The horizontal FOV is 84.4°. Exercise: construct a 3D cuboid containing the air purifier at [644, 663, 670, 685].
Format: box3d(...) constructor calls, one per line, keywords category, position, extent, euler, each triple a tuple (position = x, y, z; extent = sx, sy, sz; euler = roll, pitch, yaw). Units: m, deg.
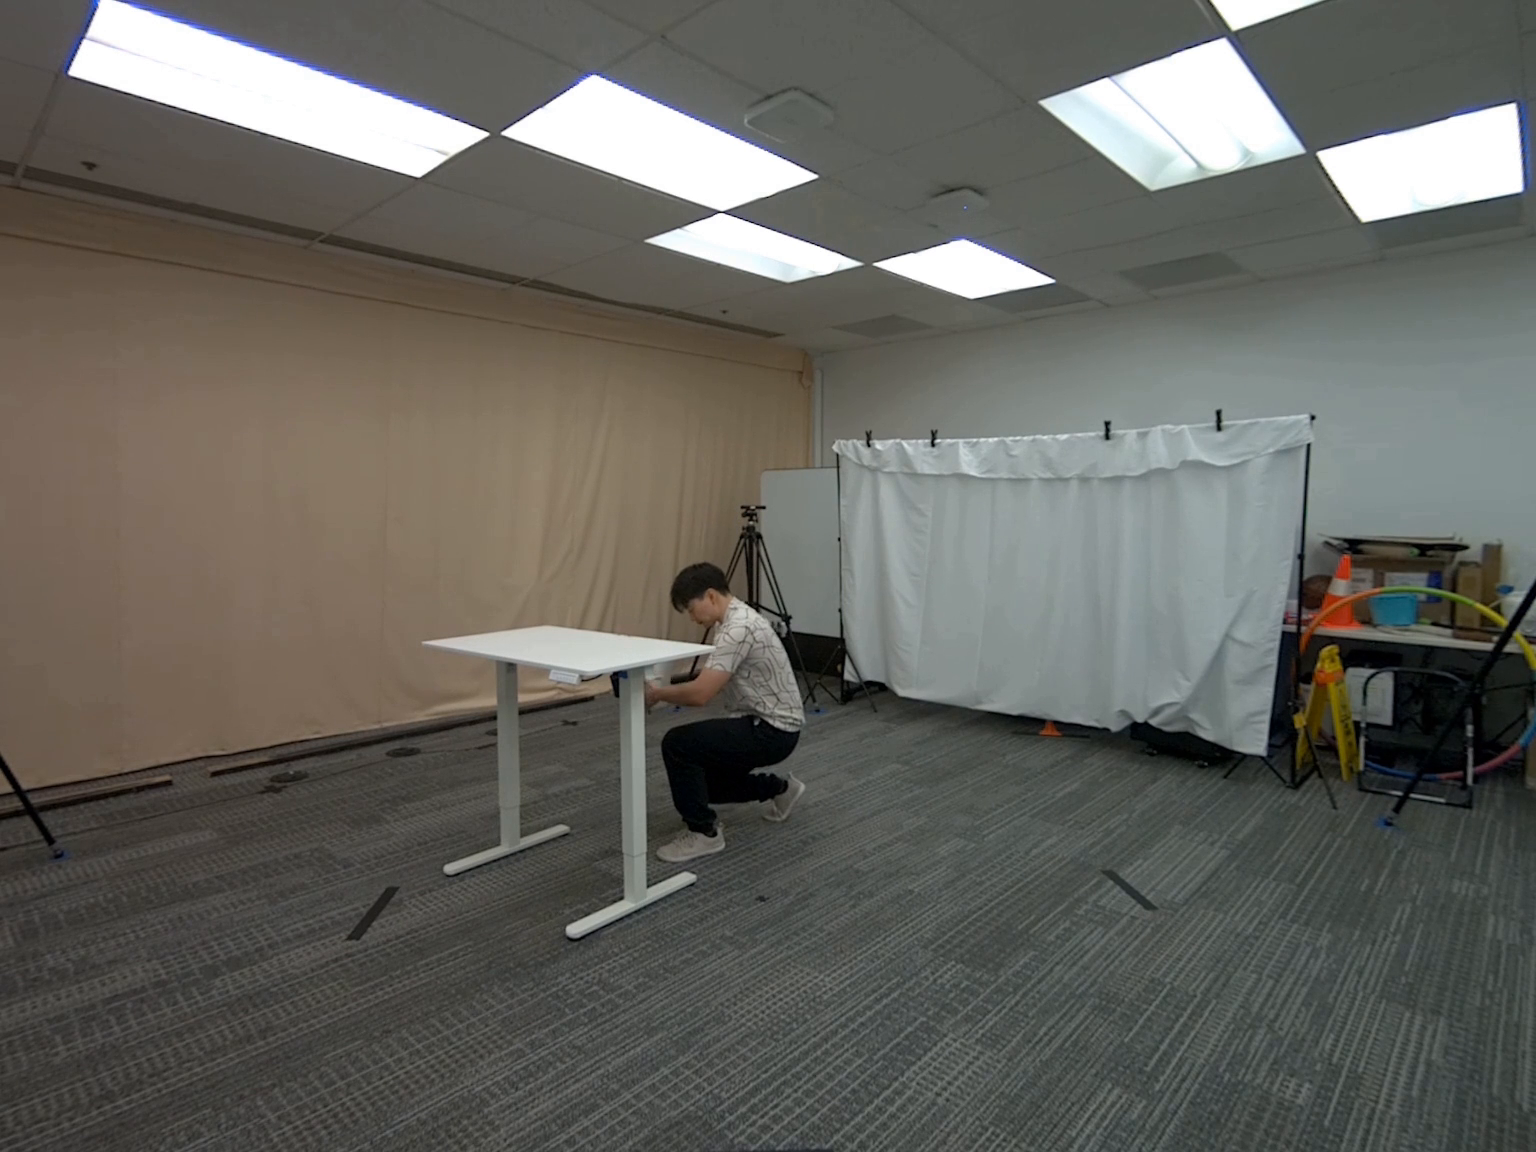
box3d(category="air purifier", position=(-0.508, 0.434, 3.597), extent=(0.174, 0.266, 0.168), euler=(3, -4, 14))
